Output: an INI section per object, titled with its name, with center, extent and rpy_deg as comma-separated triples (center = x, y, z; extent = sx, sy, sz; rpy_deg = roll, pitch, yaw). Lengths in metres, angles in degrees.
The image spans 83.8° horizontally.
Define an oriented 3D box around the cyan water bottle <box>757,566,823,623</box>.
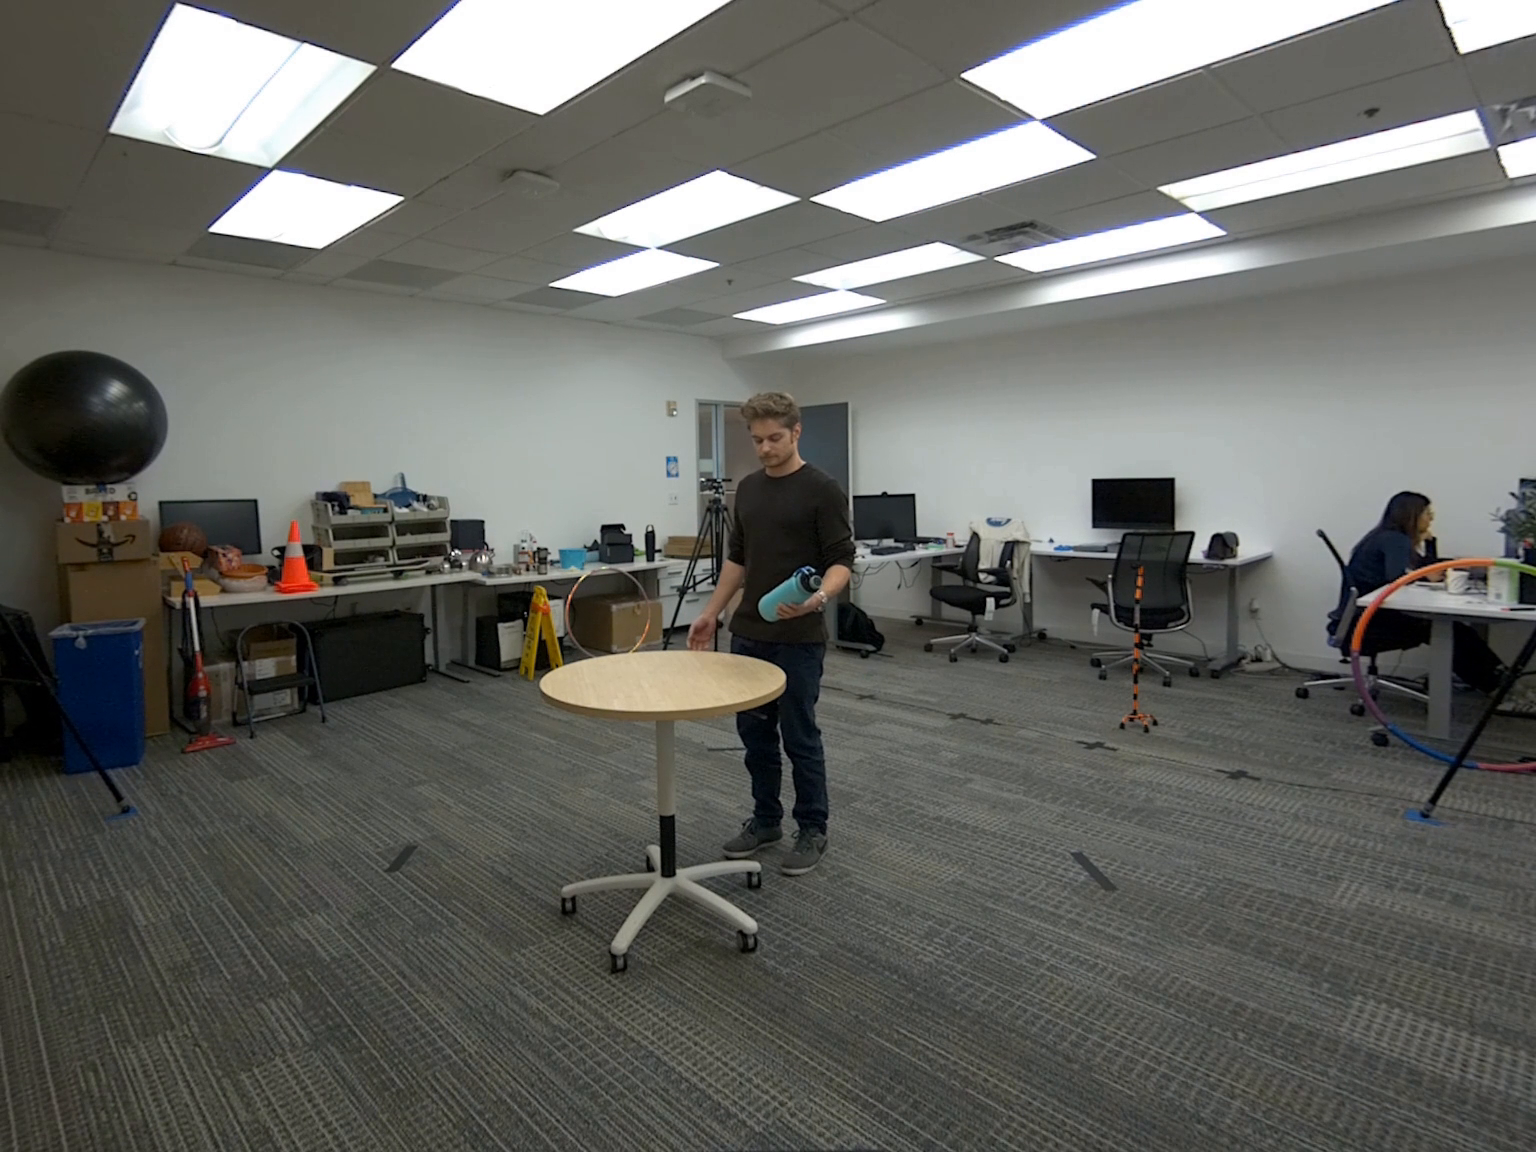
[cyan water bottle]
center = 0.069, 0.058, 2.740
extent = 0.090, 0.094, 0.284
rpy_deg = -3, -22, -31
